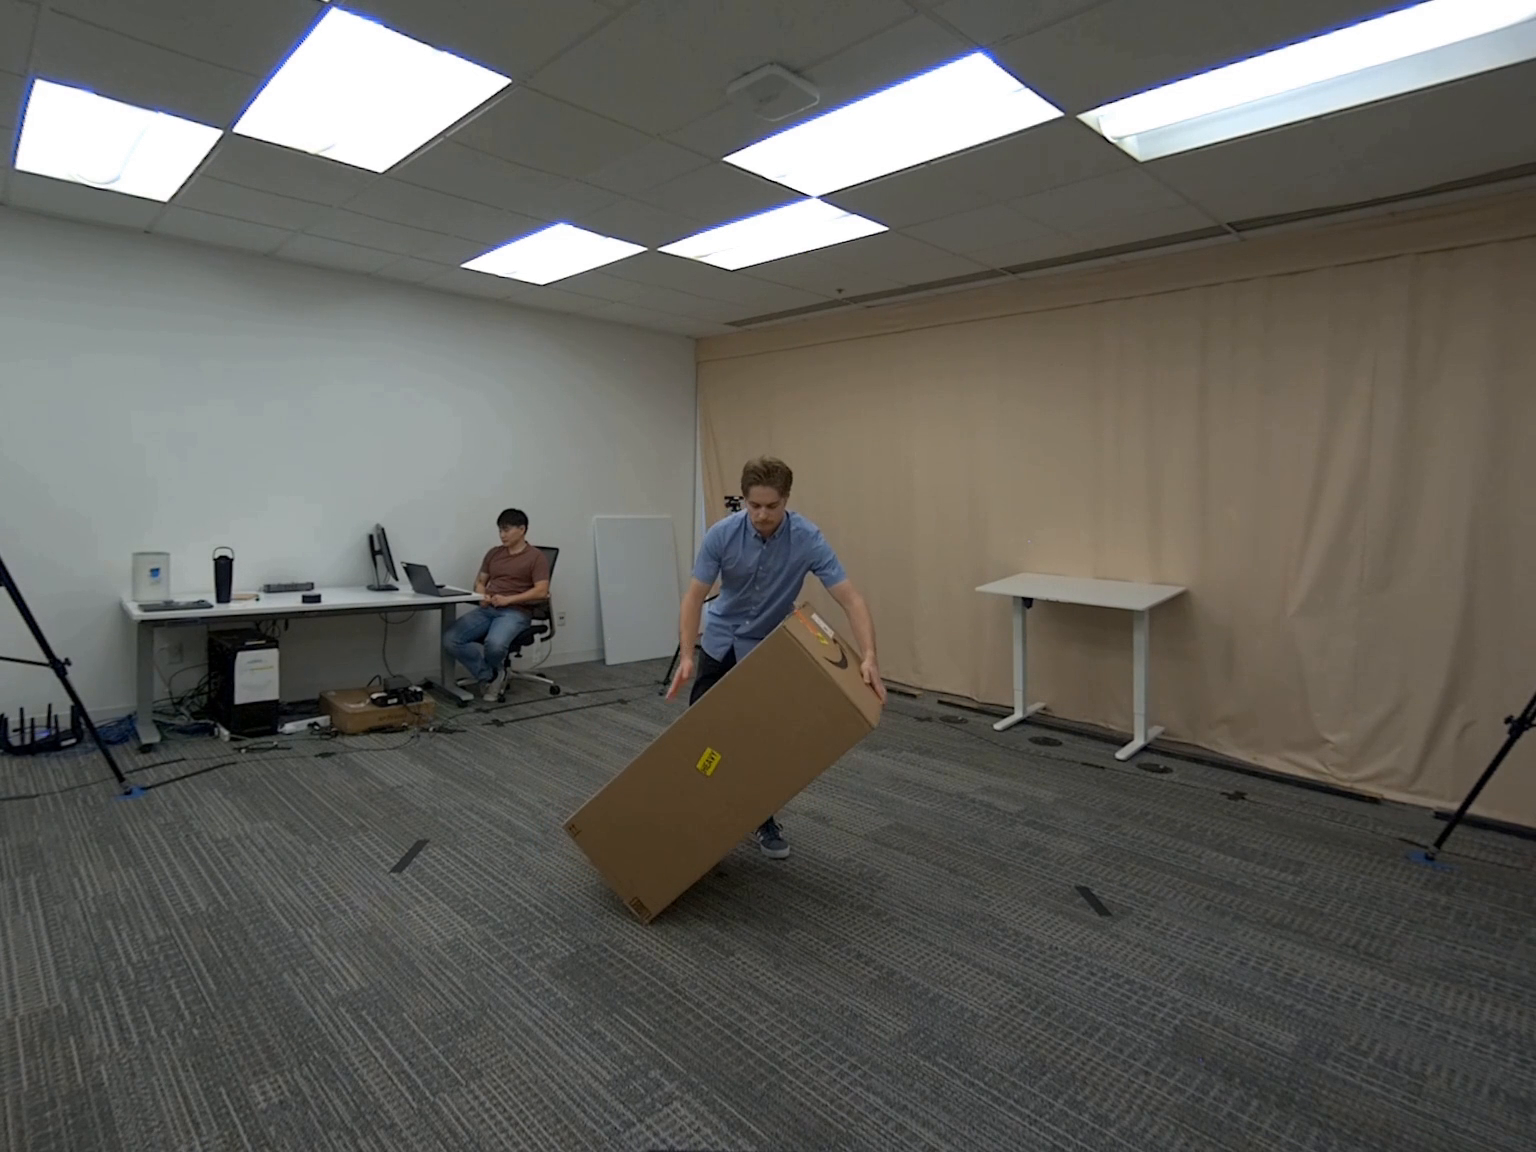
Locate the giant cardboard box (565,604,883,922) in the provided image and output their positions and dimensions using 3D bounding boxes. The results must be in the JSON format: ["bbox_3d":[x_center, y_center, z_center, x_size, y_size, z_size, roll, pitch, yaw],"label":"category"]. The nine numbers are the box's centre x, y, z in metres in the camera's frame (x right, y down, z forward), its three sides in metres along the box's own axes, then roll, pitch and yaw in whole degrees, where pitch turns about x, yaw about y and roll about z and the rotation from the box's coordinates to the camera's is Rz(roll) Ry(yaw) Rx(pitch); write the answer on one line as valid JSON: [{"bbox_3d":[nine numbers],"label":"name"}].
[{"bbox_3d":[-0.131,0.613,2.916,1.027,0.450,0.579,-44,-6,12],"label":"giant cardboard box"}]
